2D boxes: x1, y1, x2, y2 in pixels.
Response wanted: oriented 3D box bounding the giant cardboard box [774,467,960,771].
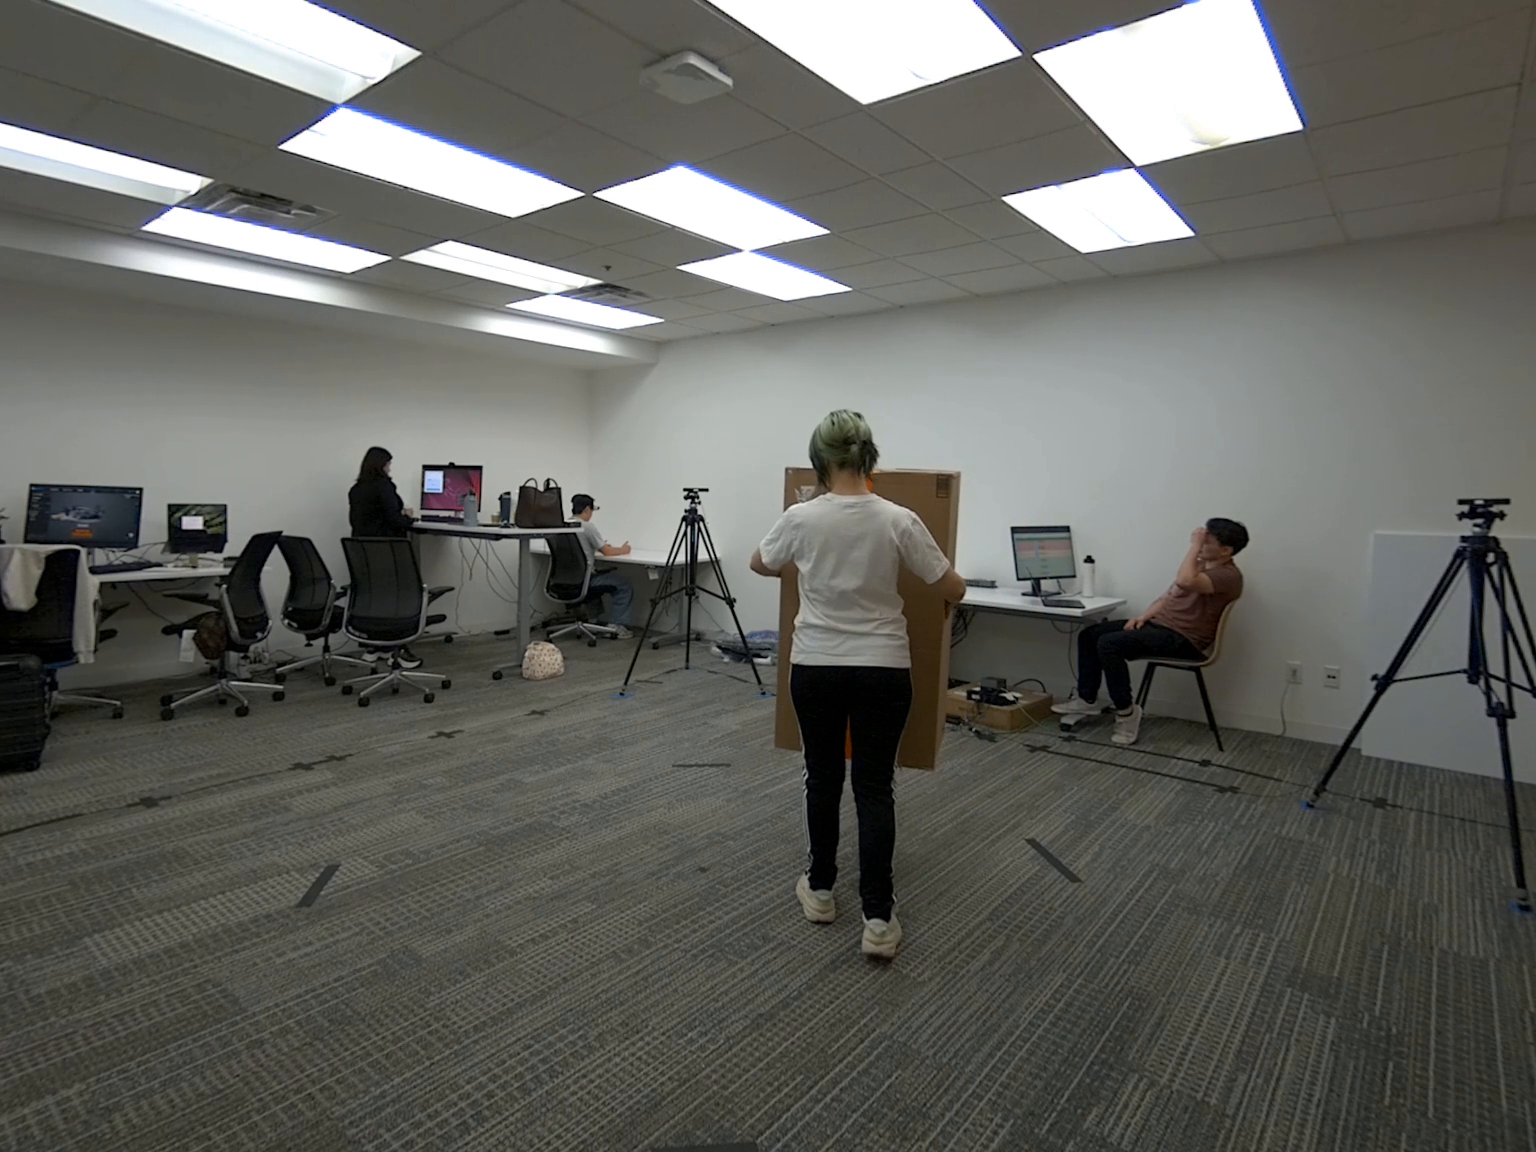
[{"bbox_3d":[0.364,0.116,3.147,0.590,1.020,0.420,4,6,18],"label":"giant cardboard box"}]
